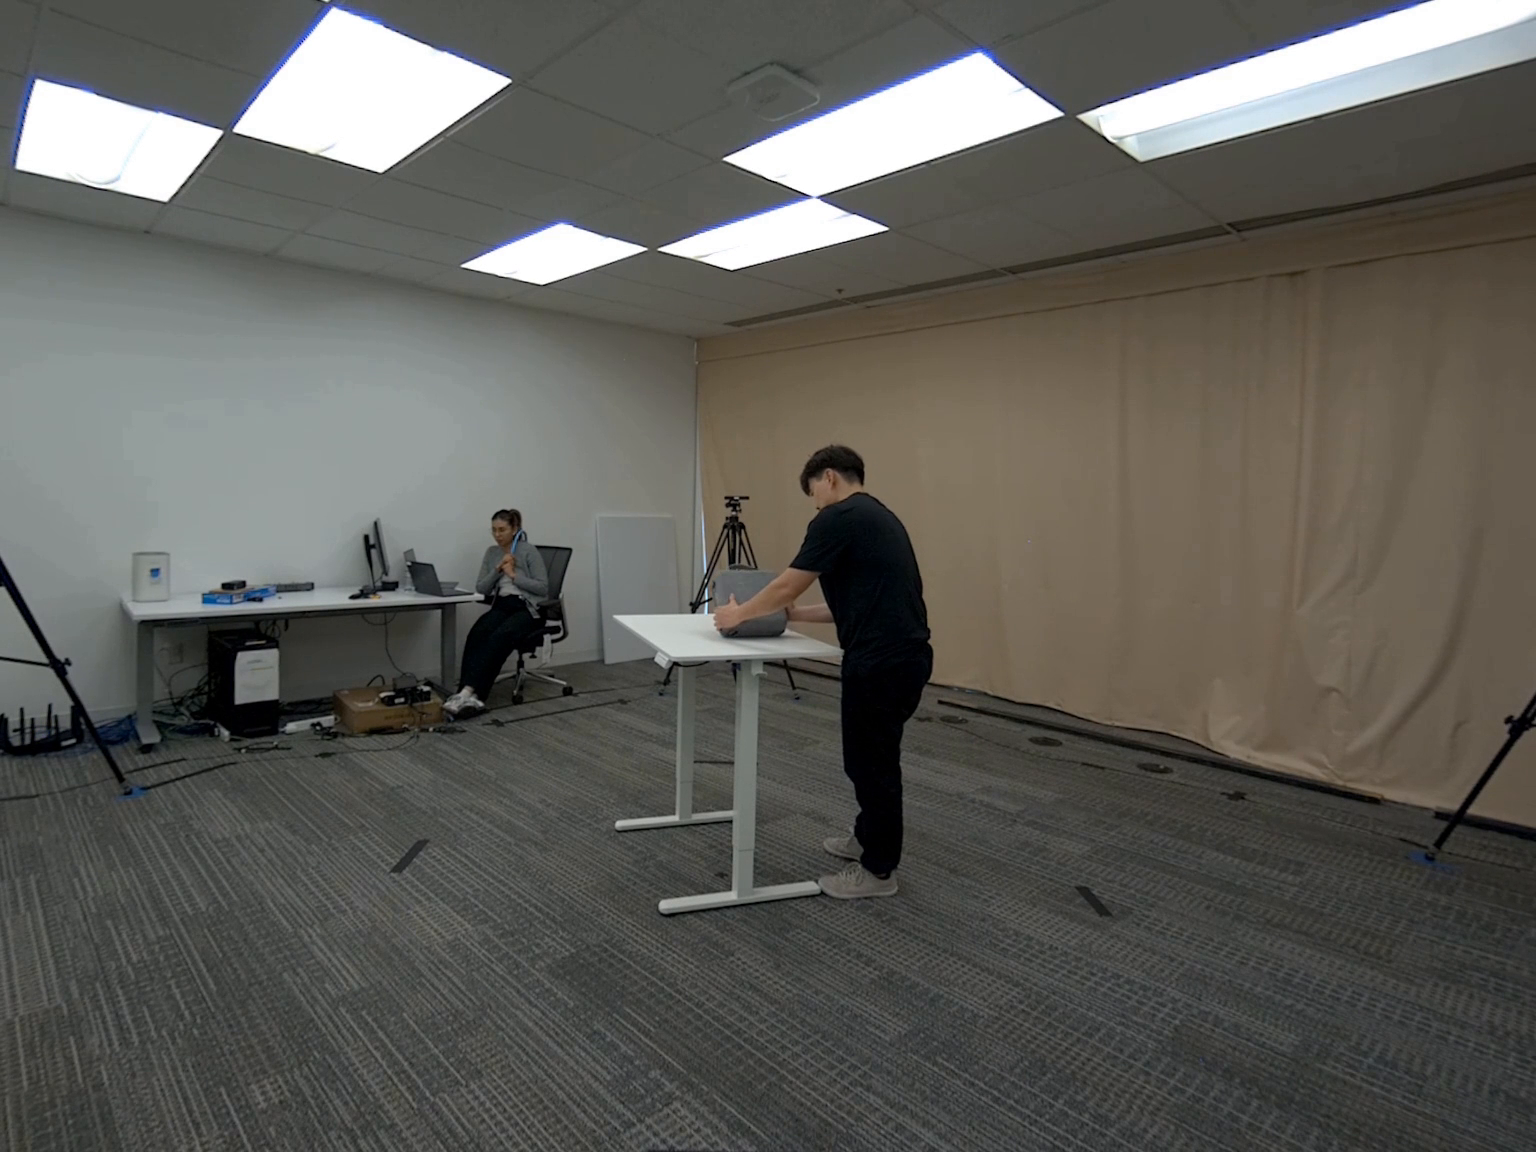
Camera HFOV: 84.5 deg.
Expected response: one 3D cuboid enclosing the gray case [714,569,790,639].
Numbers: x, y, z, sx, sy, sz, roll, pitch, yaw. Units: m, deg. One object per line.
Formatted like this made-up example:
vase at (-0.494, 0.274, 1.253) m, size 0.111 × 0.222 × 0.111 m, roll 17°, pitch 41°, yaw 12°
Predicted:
gray case at (-0.064, 0.099, 3.133) m, size 0.254 × 0.266 × 0.103 m, roll -2°, pitch -31°, yaw -13°
